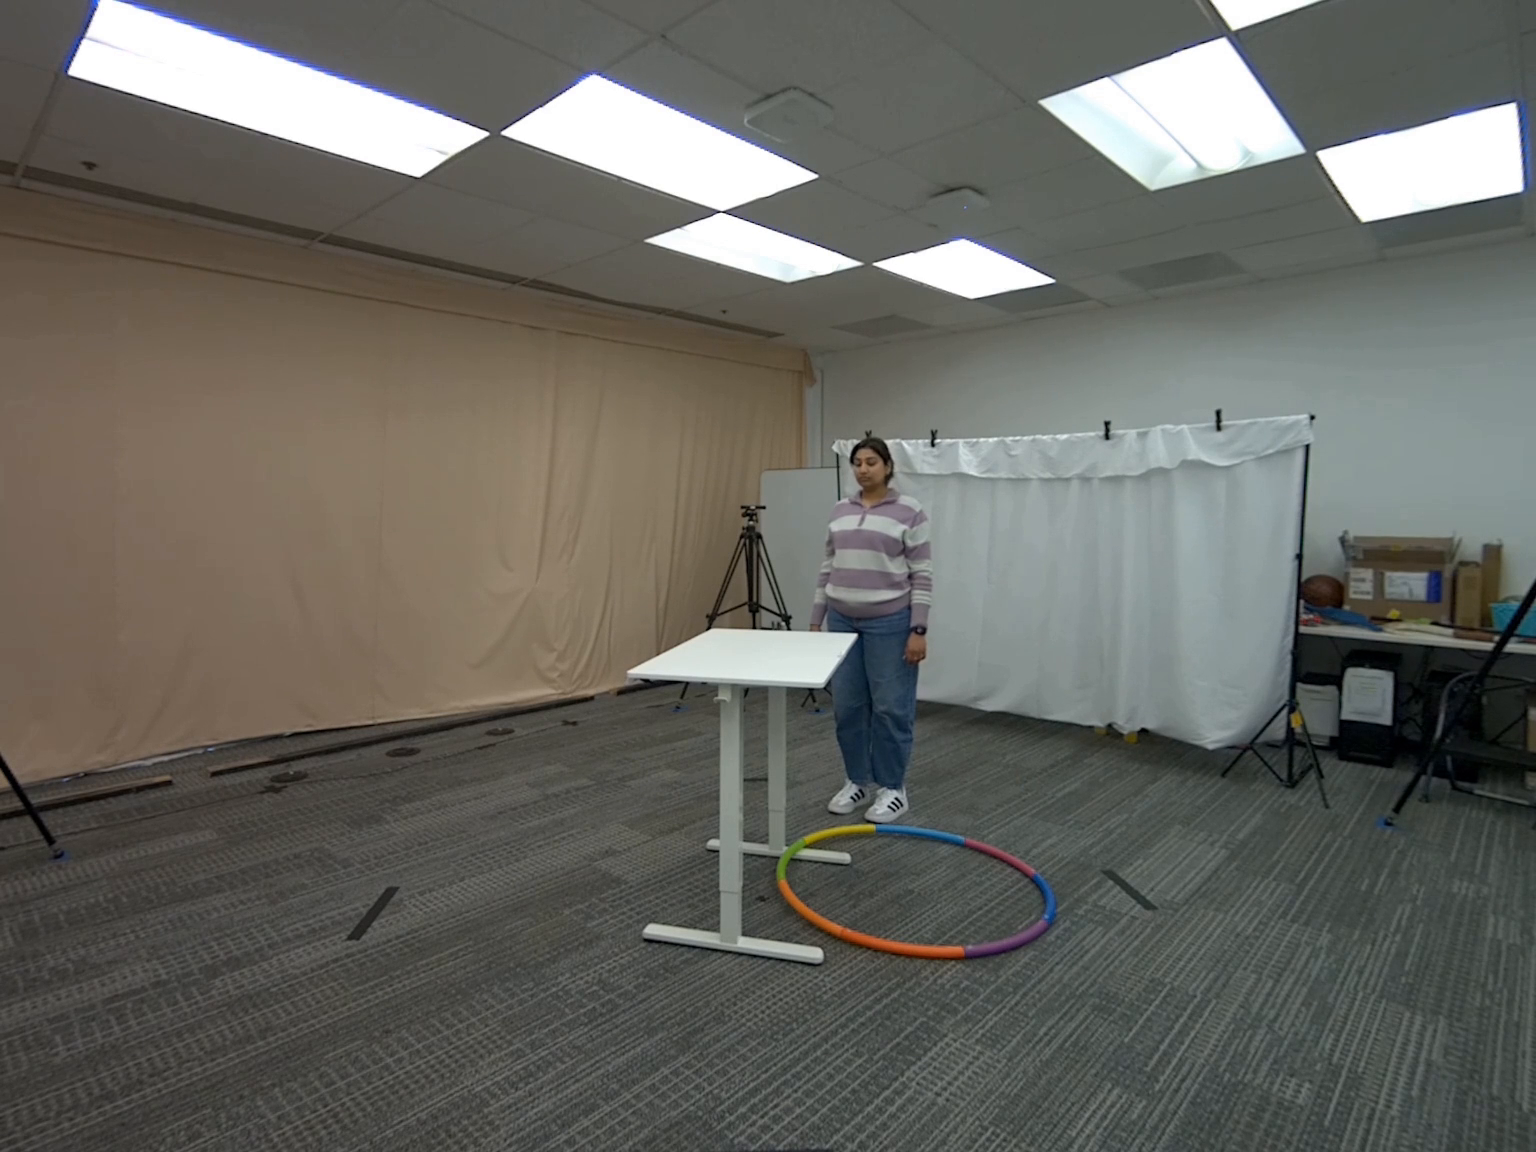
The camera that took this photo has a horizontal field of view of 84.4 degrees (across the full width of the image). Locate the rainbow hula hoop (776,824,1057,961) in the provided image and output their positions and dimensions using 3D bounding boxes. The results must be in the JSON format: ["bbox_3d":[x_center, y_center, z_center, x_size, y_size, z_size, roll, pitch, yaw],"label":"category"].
[{"bbox_3d":[0.533,1.103,3.062,0.978,0.035,0.983,1,6,-2],"label":"rainbow hula hoop"}]
